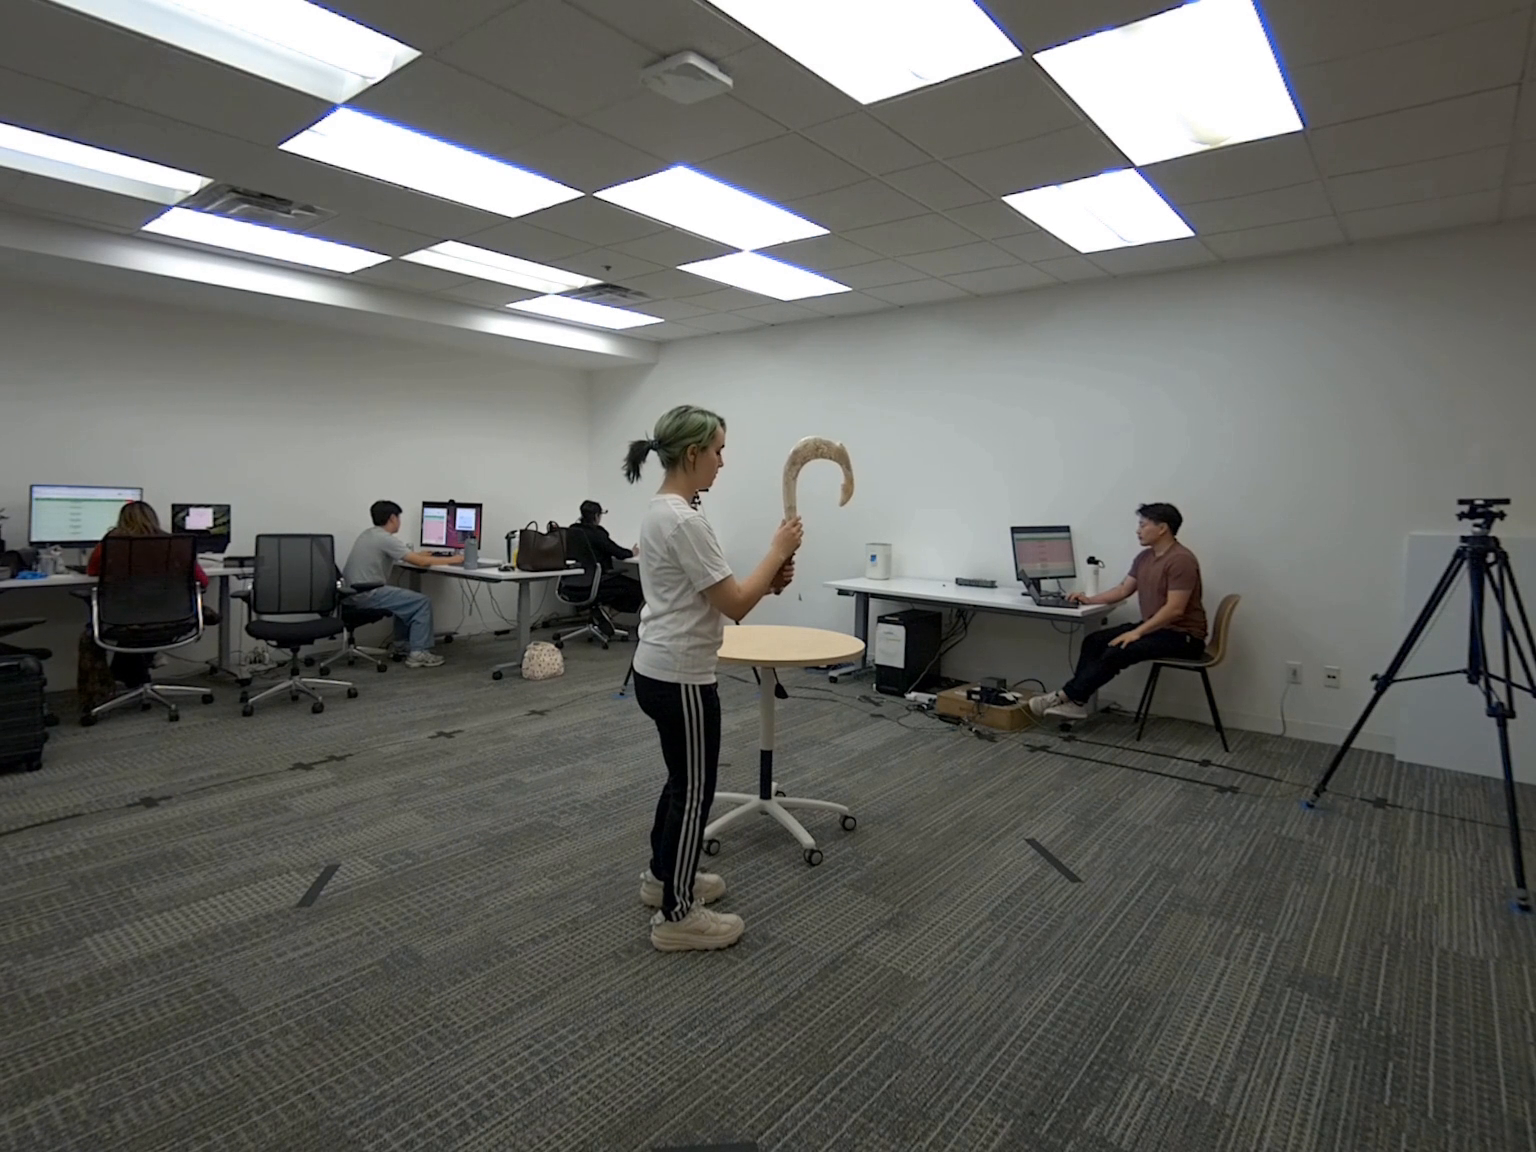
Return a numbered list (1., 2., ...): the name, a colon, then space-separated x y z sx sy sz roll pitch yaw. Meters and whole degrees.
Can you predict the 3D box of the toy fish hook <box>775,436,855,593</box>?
1. toy fish hook: 0.119 -0.179 2.614 0.226 0.508 0.048 14 -4 5
